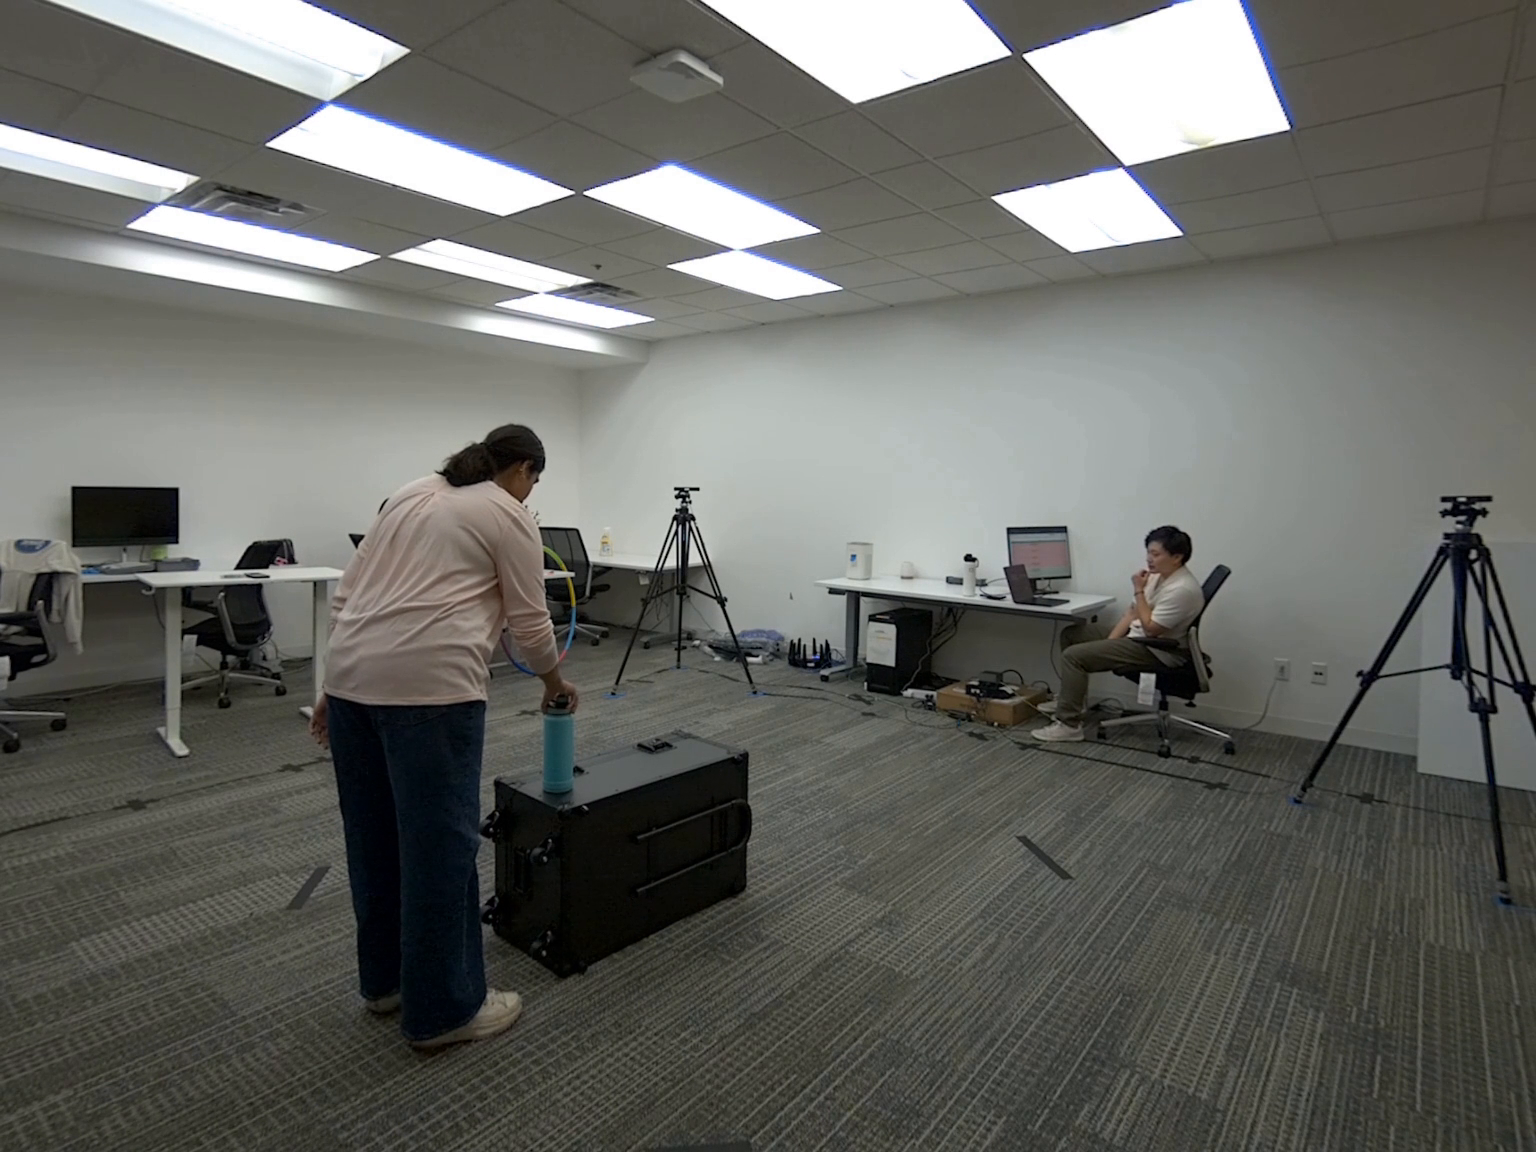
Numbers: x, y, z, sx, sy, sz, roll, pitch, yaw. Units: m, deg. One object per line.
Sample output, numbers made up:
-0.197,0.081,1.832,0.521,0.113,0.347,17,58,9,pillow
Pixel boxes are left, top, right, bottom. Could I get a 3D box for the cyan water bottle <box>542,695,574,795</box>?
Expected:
-0.641,0.499,2.541,0.092,0.282,0.093,-1,4,-2,cyan water bottle
